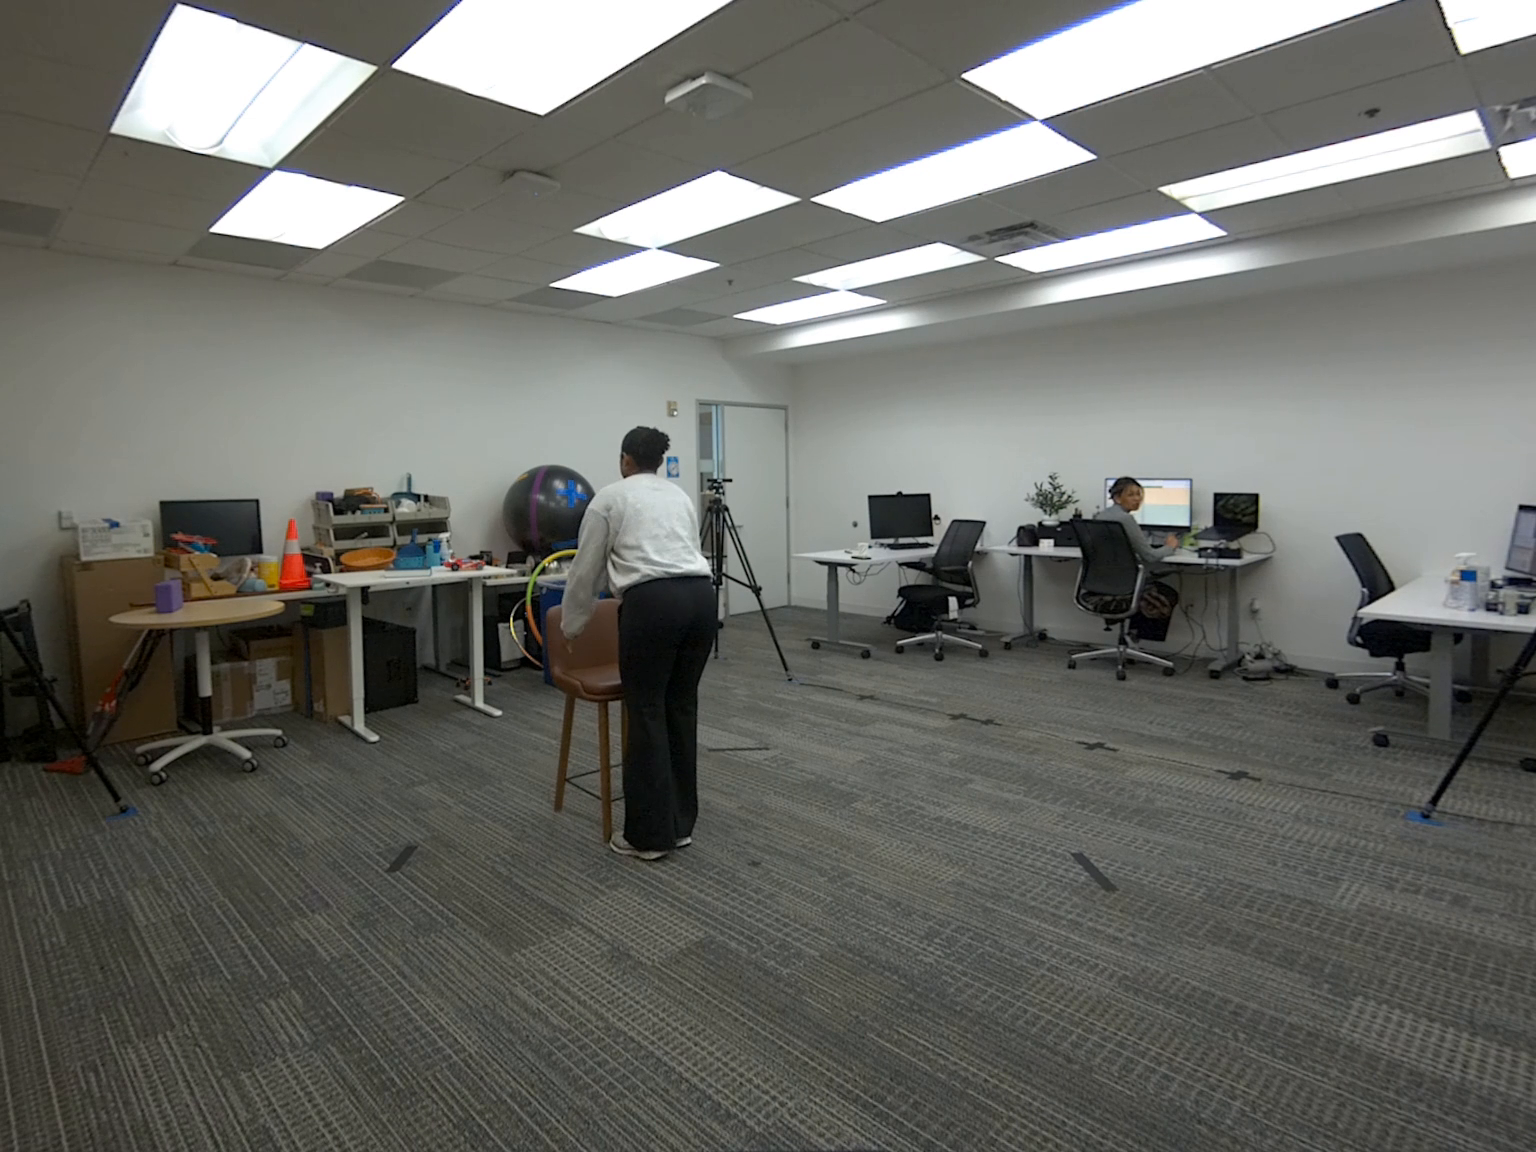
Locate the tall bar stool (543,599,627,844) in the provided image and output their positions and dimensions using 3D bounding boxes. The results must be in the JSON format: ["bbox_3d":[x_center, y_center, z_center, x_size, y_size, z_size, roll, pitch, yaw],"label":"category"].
[{"bbox_3d":[-0.639,0.560,3.583,0.444,0.888,0.481,-4,3,-41],"label":"tall bar stool"}]
